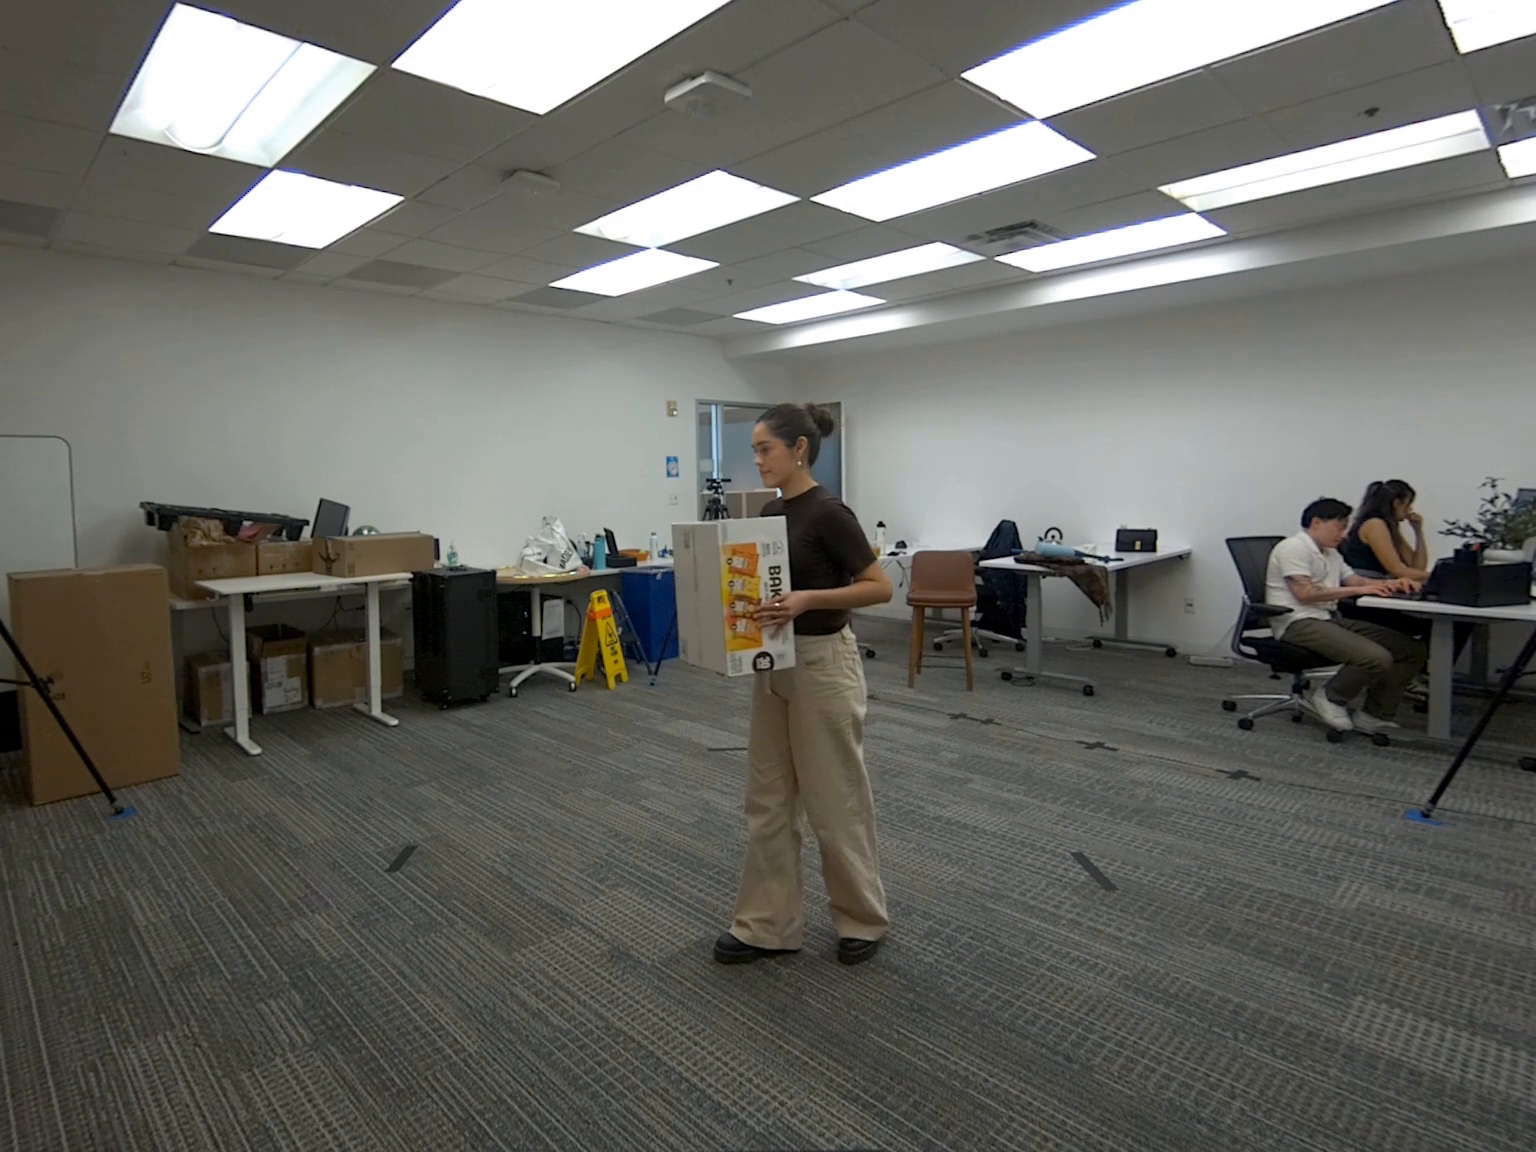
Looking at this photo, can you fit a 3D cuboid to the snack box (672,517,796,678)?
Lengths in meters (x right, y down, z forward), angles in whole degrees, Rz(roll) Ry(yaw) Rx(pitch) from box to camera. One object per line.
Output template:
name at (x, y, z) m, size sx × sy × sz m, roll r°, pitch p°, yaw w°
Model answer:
snack box at (-0.102, 0.043, 2.391) m, size 0.201 × 0.404 × 0.348 m, roll -6°, pitch 3°, yaw -26°
